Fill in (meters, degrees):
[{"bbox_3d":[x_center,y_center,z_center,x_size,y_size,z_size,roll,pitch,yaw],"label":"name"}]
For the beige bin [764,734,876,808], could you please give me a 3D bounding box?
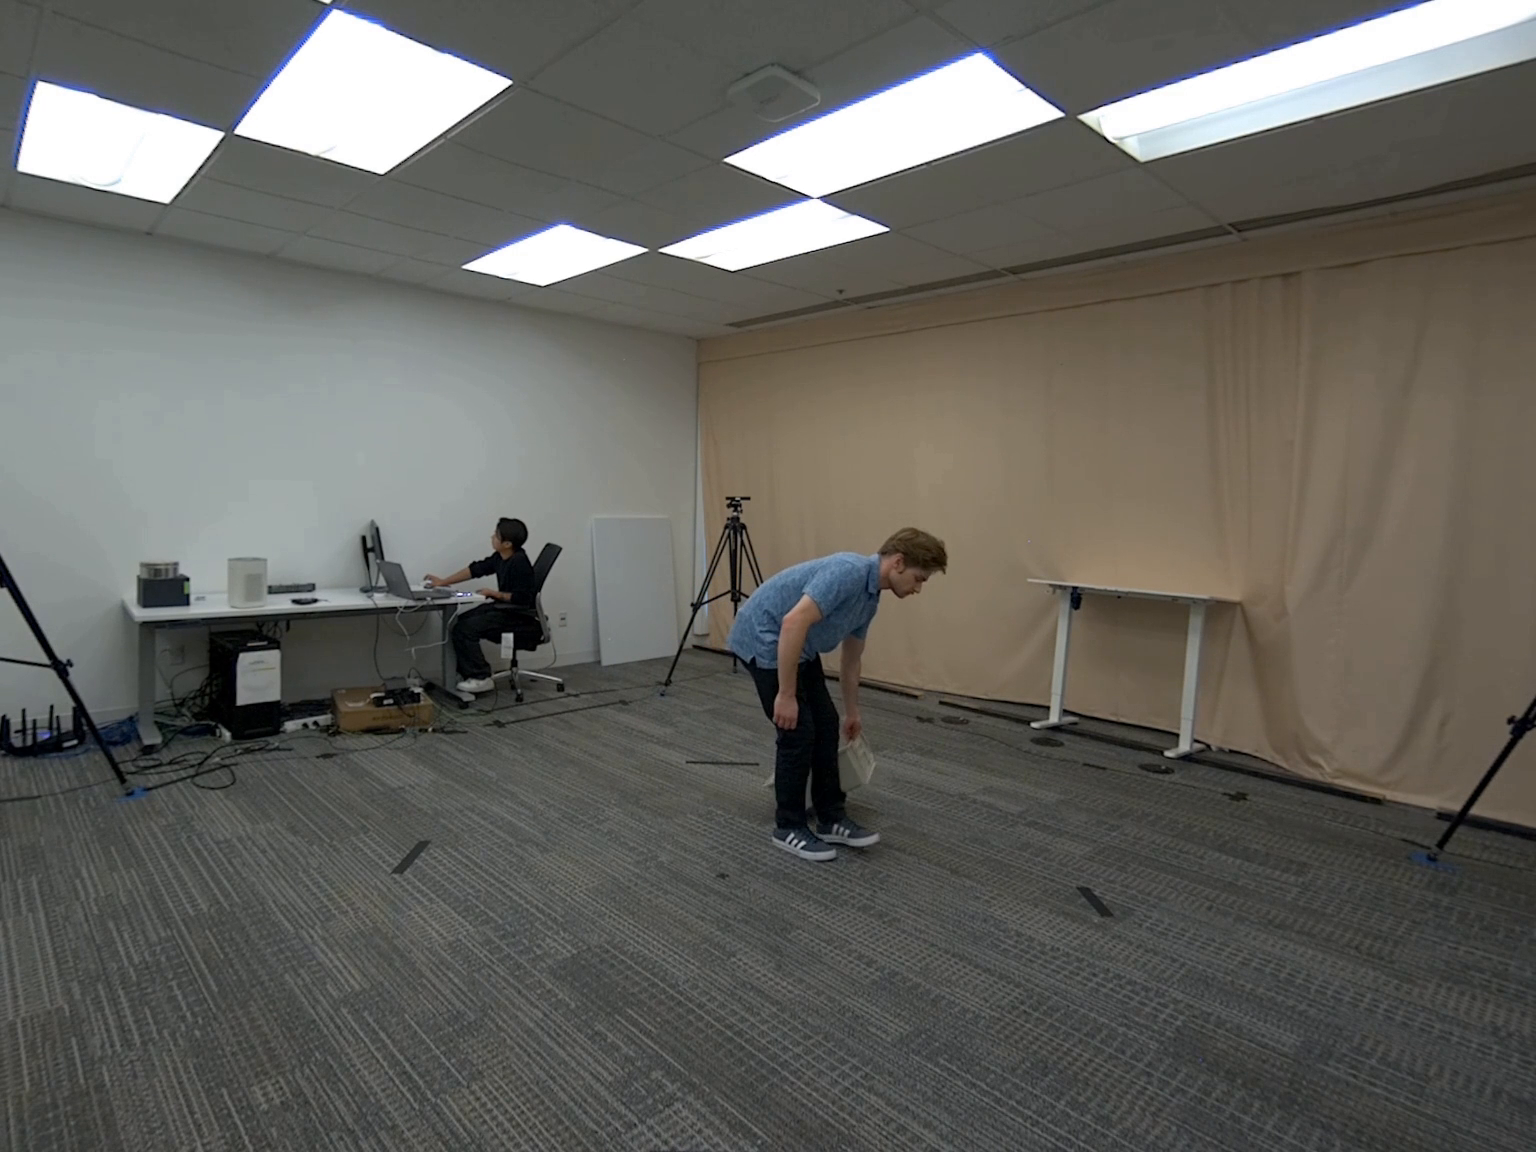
[{"bbox_3d":[0.234,0.874,3.762,0.424,0.189,0.374,-27,-2,14],"label":"beige bin"}]
